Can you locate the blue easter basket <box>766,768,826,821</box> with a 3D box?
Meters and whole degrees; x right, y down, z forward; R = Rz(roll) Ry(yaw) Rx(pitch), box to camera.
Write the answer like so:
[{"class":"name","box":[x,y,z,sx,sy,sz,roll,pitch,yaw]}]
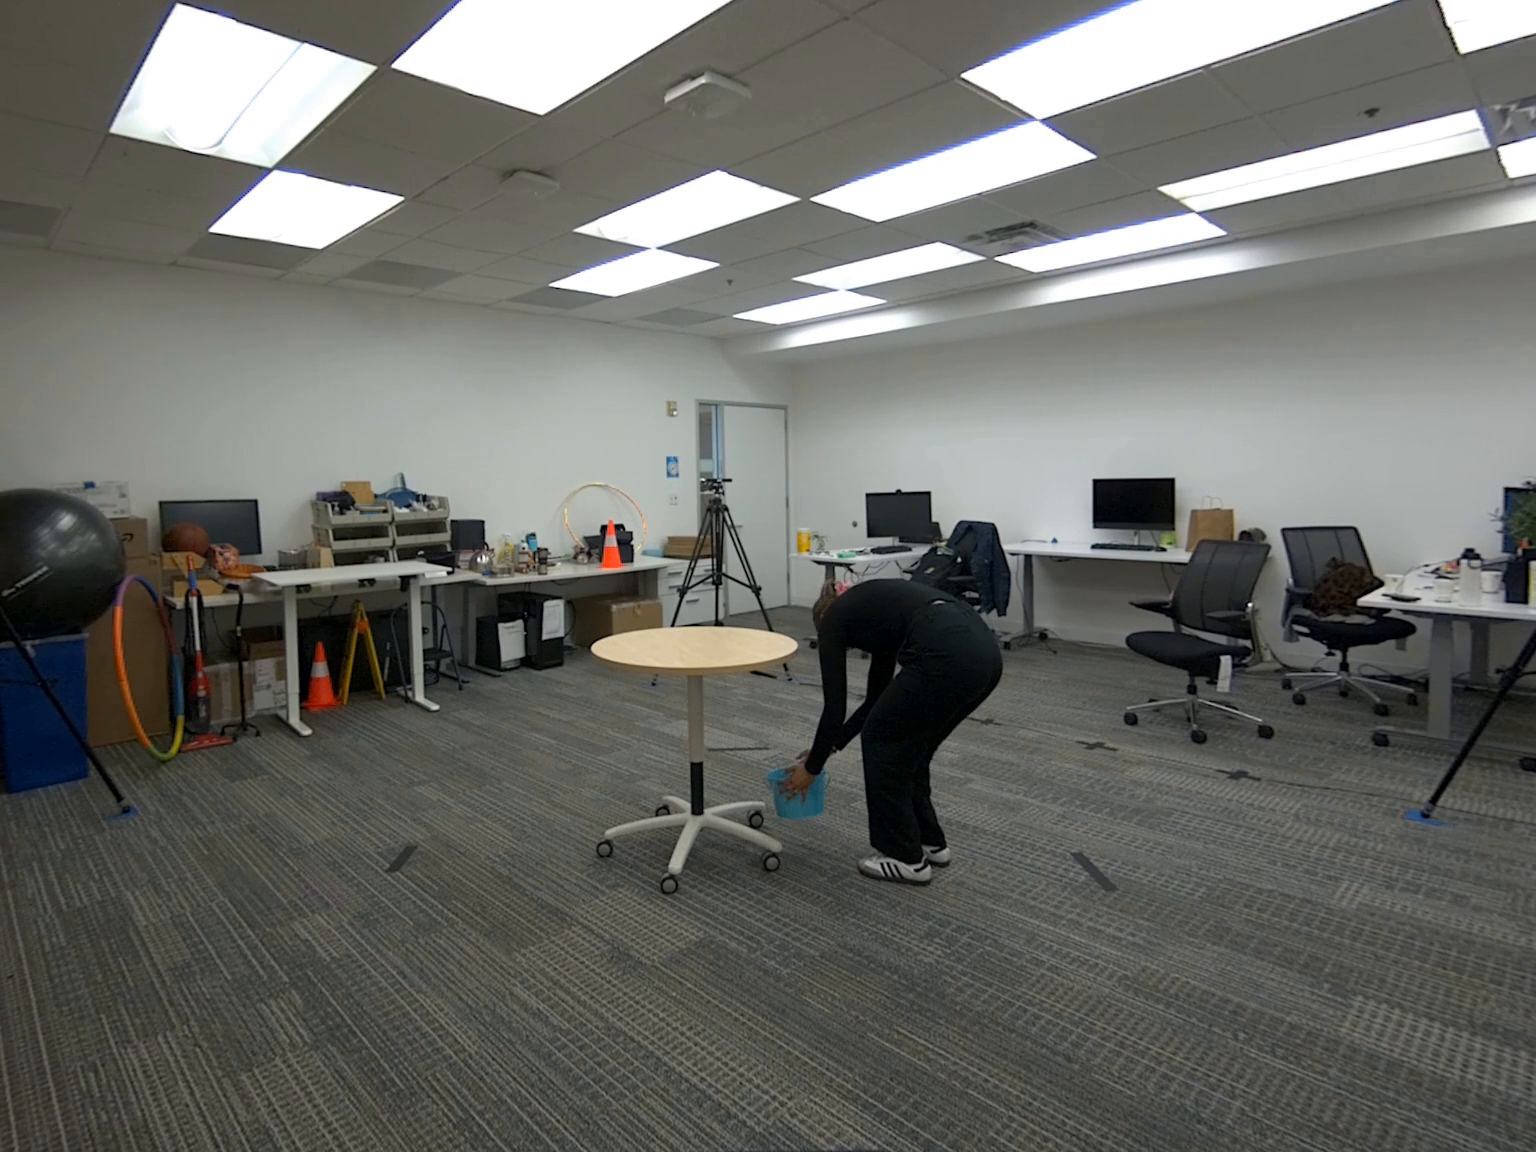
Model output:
[{"class":"blue easter basket","box":[0.124,0.811,3.240,0.243,0.156,0.243,-5,0,-2]}]
